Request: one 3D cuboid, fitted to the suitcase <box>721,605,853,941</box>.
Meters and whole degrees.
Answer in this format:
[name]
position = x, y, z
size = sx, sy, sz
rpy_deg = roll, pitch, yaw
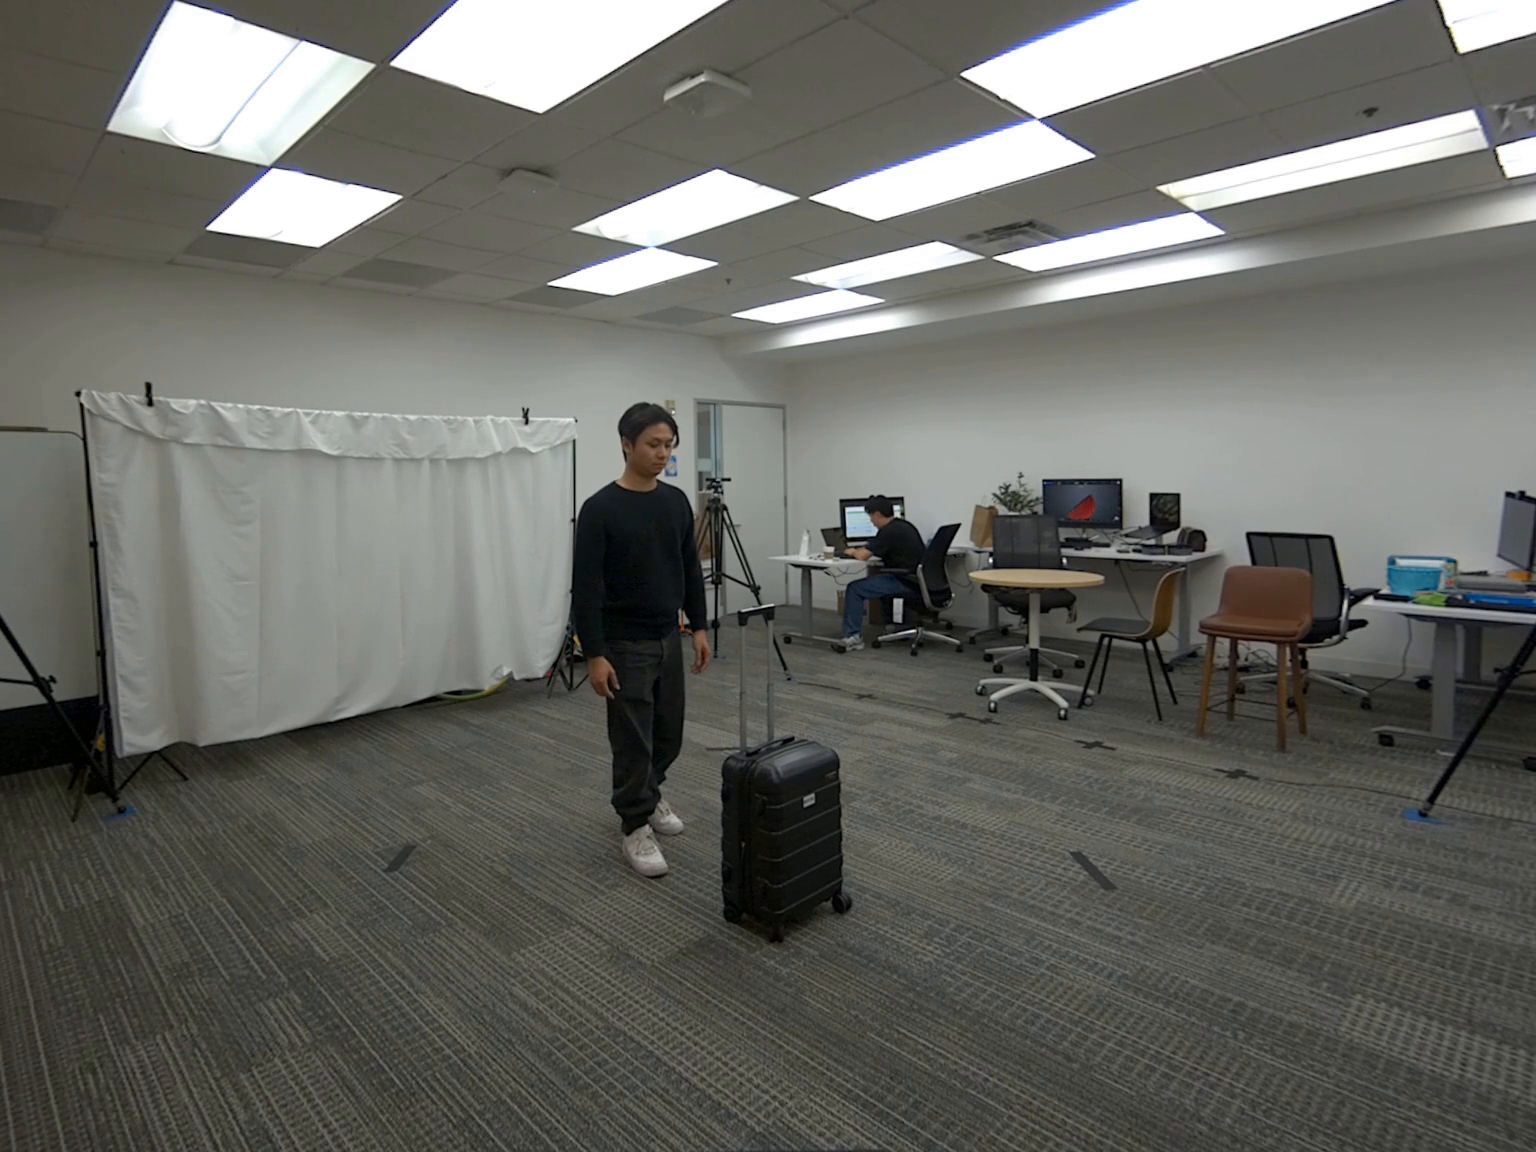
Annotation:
[suitcase]
position = 0.053, 0.607, 2.701
size = 0.265, 0.973, 0.374
rpy_deg = 5, 8, 43
